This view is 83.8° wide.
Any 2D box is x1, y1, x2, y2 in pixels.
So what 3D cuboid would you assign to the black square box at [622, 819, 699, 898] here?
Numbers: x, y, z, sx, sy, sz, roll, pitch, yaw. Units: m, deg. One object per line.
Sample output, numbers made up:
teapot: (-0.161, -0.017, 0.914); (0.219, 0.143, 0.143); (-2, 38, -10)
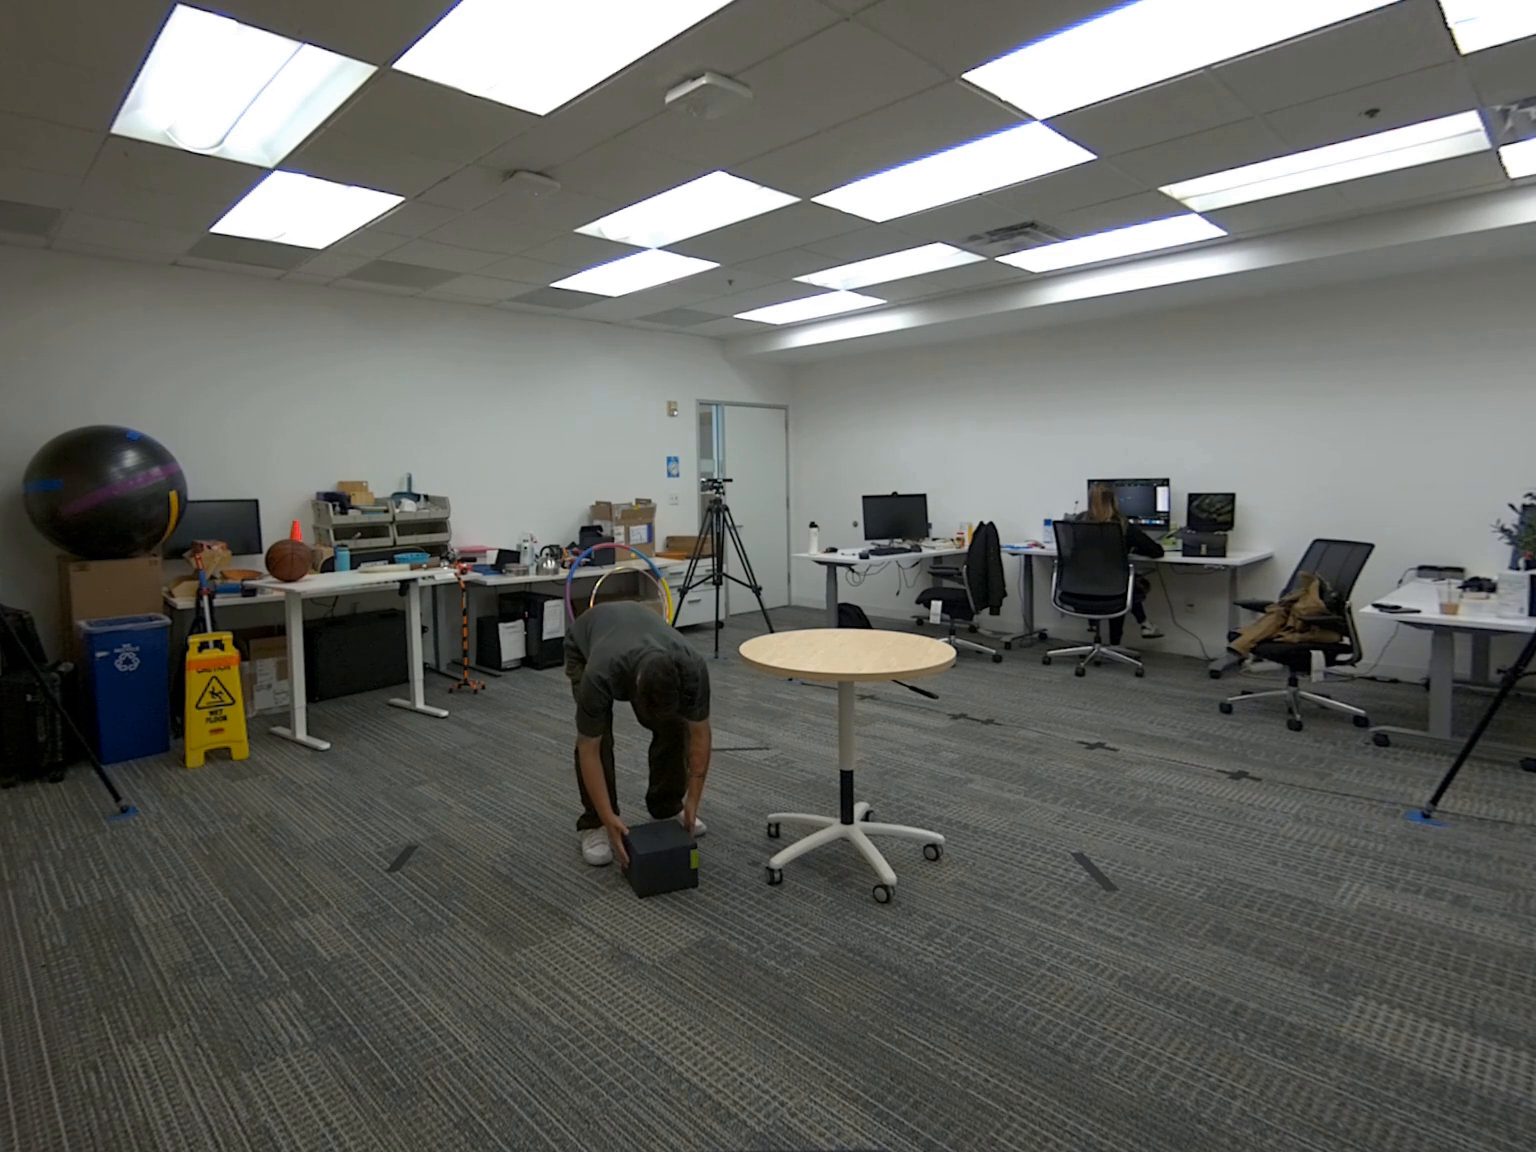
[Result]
black square box: (-0.386, 0.983, 2.990); (0.212, 0.155, 0.234); (-3, 7, -25)
